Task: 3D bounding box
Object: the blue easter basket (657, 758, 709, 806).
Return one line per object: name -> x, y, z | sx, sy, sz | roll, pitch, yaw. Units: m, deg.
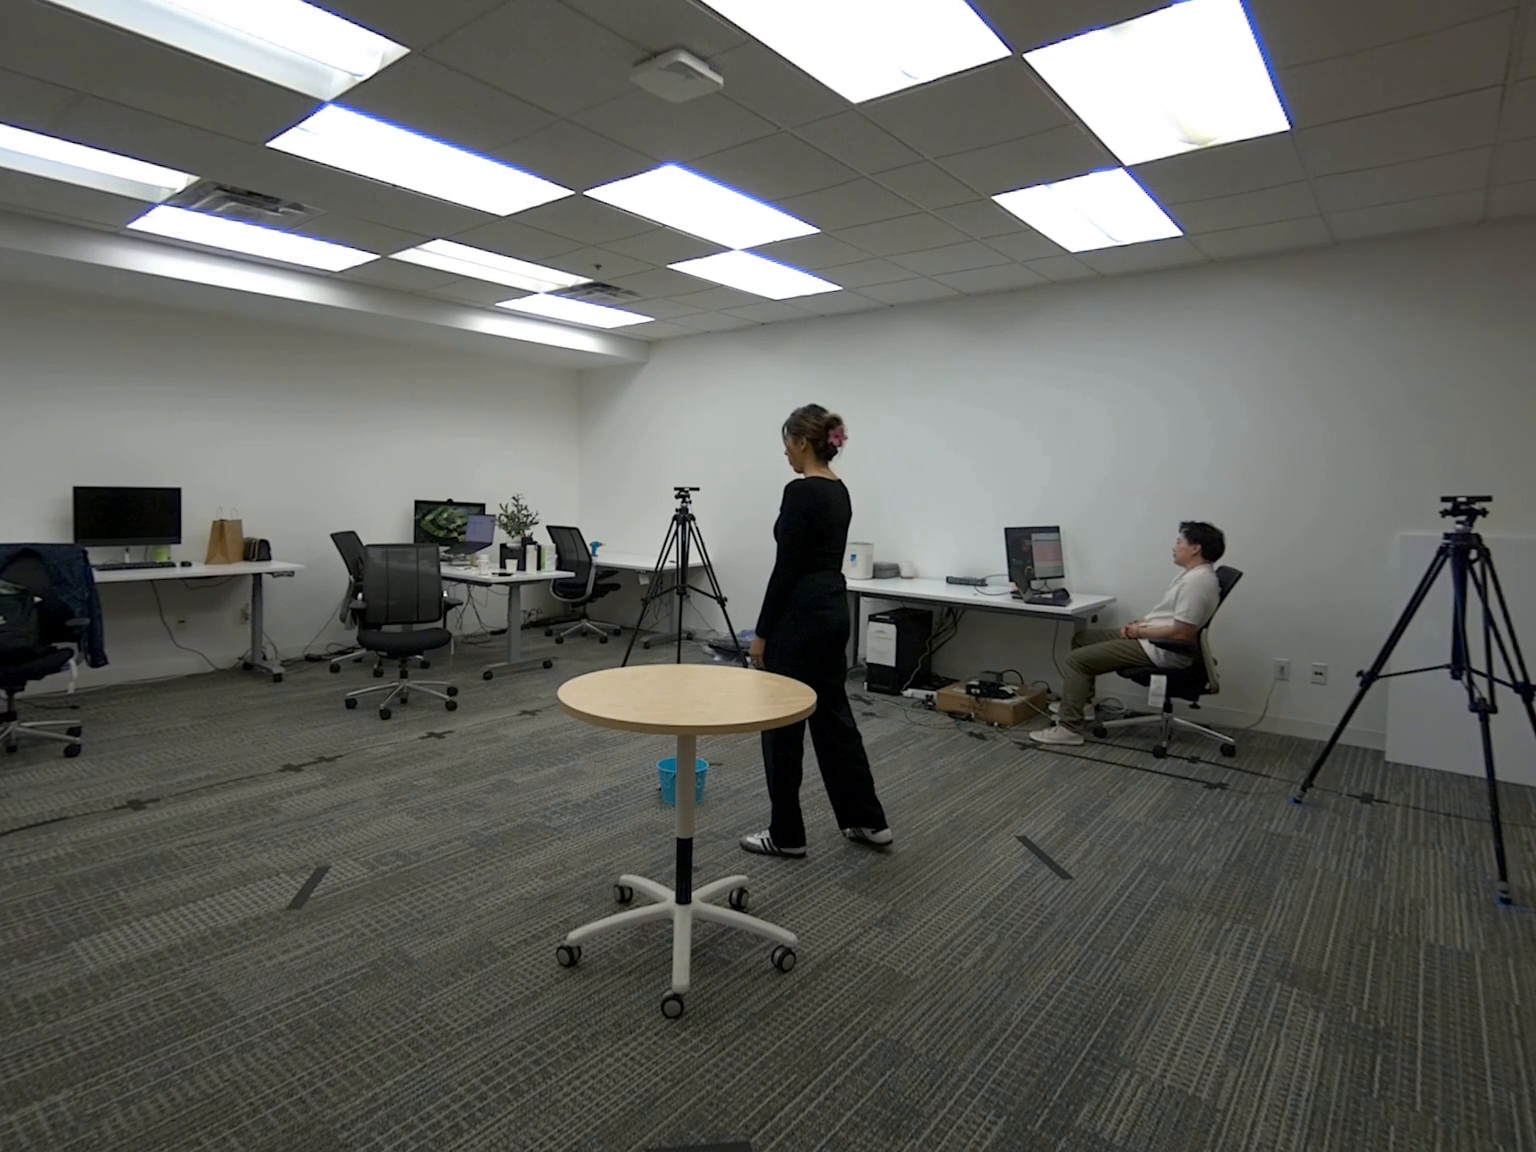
blue easter basket -> -0.401, 0.916, 3.822 | 0.243, 0.155, 0.245 | 1, 5, -2
